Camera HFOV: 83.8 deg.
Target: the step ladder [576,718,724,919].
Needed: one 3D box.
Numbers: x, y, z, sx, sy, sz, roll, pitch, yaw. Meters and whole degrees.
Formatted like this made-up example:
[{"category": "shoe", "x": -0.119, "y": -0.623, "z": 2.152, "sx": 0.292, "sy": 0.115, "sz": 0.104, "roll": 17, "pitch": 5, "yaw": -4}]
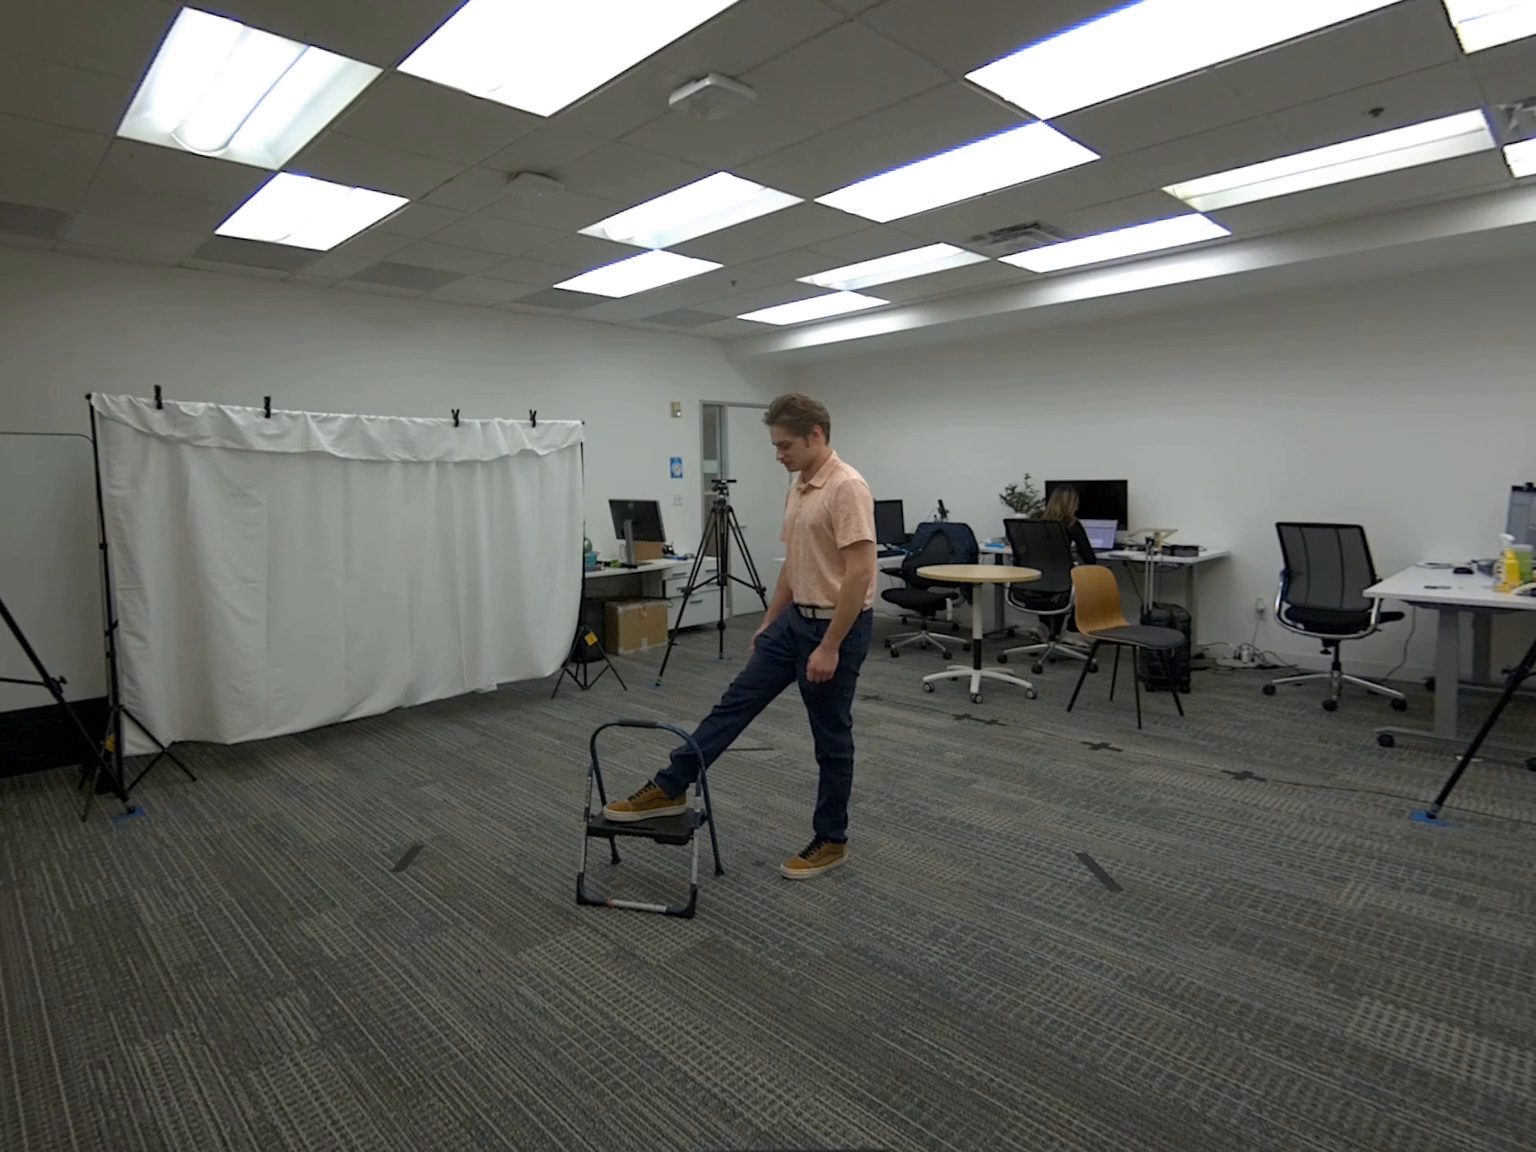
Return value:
[{"category": "step ladder", "x": -0.406, "y": 0.777, "z": 2.918, "sx": 0.437, "sy": 0.604, "sz": 0.346, "roll": 0, "pitch": 4, "yaw": 14}]
